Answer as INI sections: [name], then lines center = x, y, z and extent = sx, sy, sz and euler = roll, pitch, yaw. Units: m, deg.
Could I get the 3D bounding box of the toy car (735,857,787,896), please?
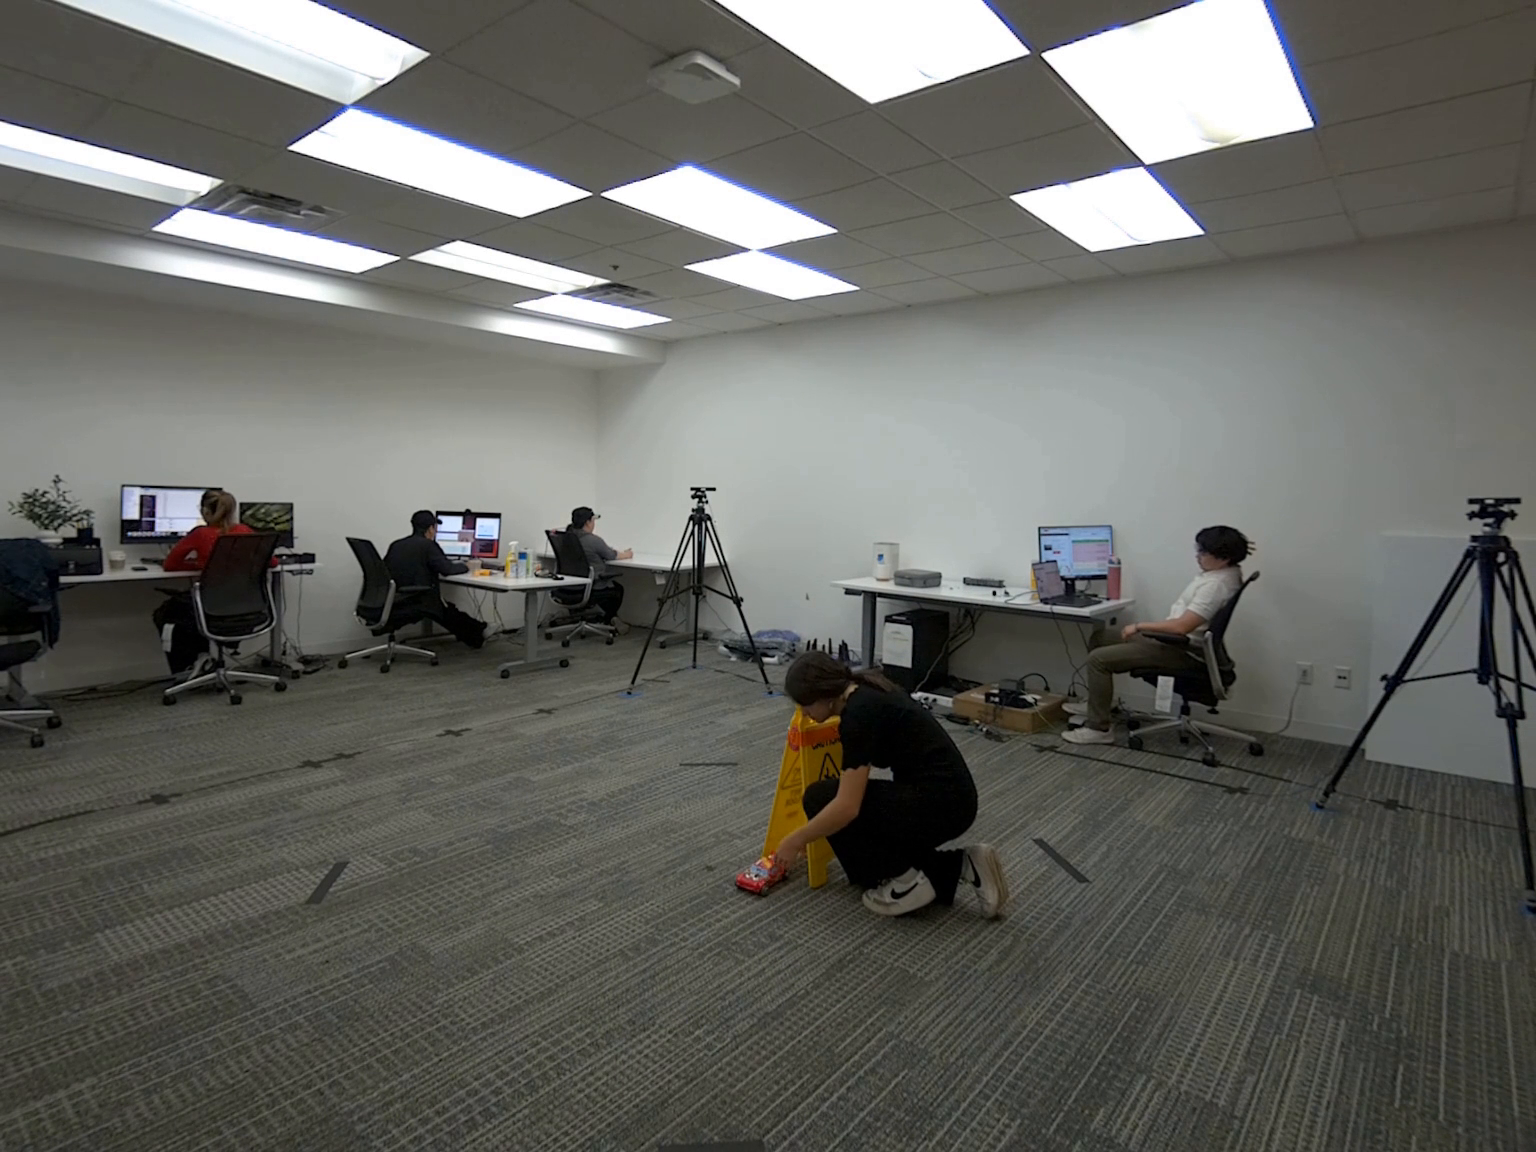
[toy car]
center = -0.008, 1.051, 3.020
extent = 0.134, 0.082, 0.250
euler = 4, 16, 34
